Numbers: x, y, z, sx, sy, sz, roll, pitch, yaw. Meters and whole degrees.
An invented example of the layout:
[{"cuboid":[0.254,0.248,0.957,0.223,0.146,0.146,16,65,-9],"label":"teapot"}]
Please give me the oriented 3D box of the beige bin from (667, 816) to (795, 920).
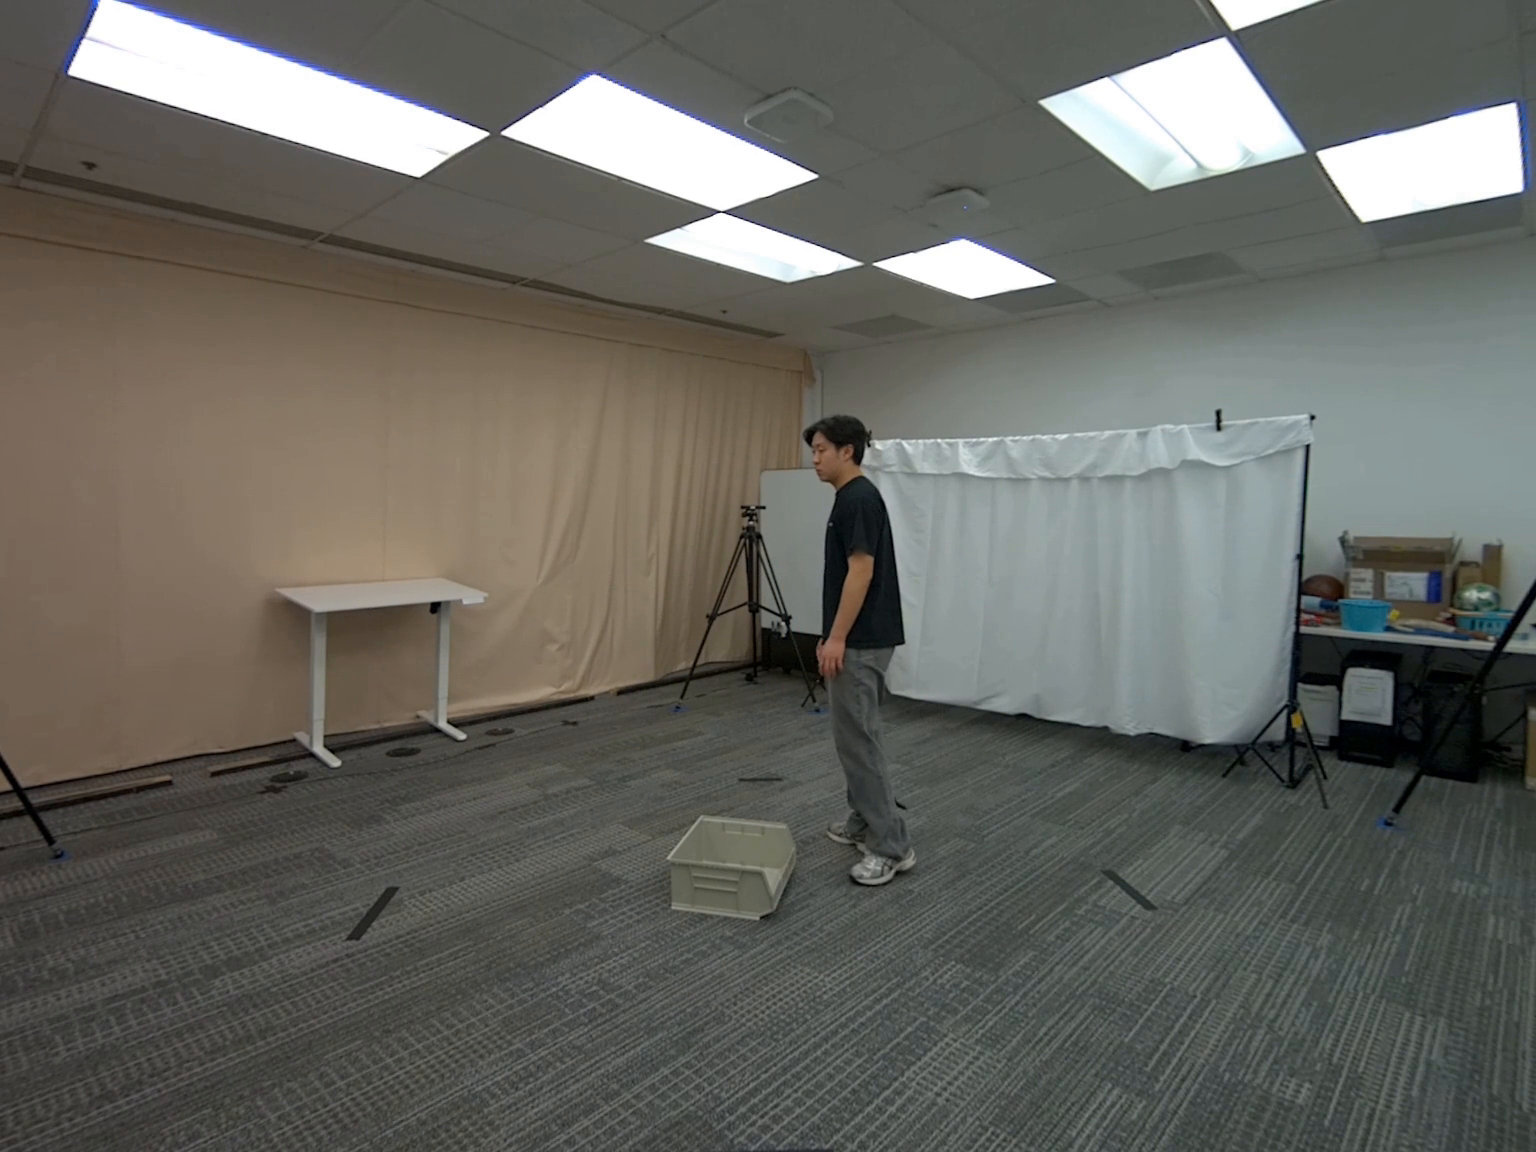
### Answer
[{"cuboid":[-0.119,1.050,3.053,0.383,0.188,0.417,0,5,13],"label":"beige bin"}]
